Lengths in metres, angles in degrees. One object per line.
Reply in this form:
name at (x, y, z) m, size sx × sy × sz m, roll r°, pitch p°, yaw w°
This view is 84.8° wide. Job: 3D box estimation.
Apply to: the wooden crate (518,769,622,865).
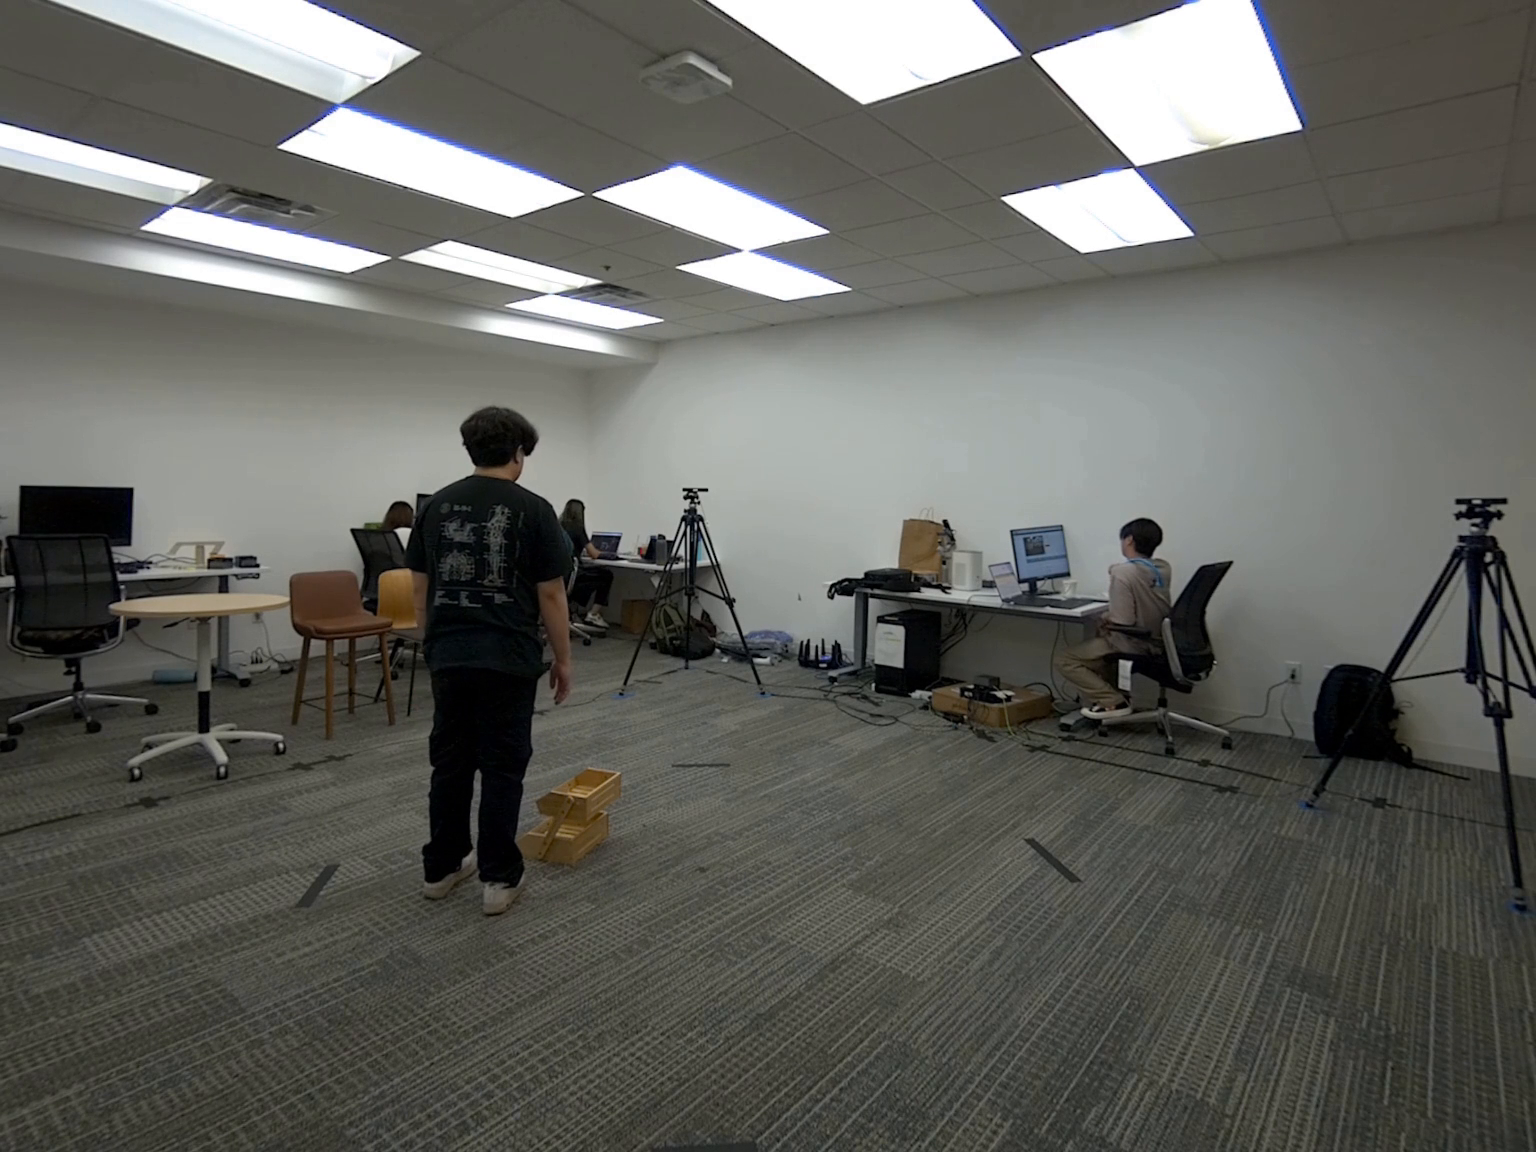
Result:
wooden crate at (-0.789, 0.912, 3.289) m, size 0.308 × 0.272 × 0.319 m, roll 3°, pitch 5°, yaw 17°
